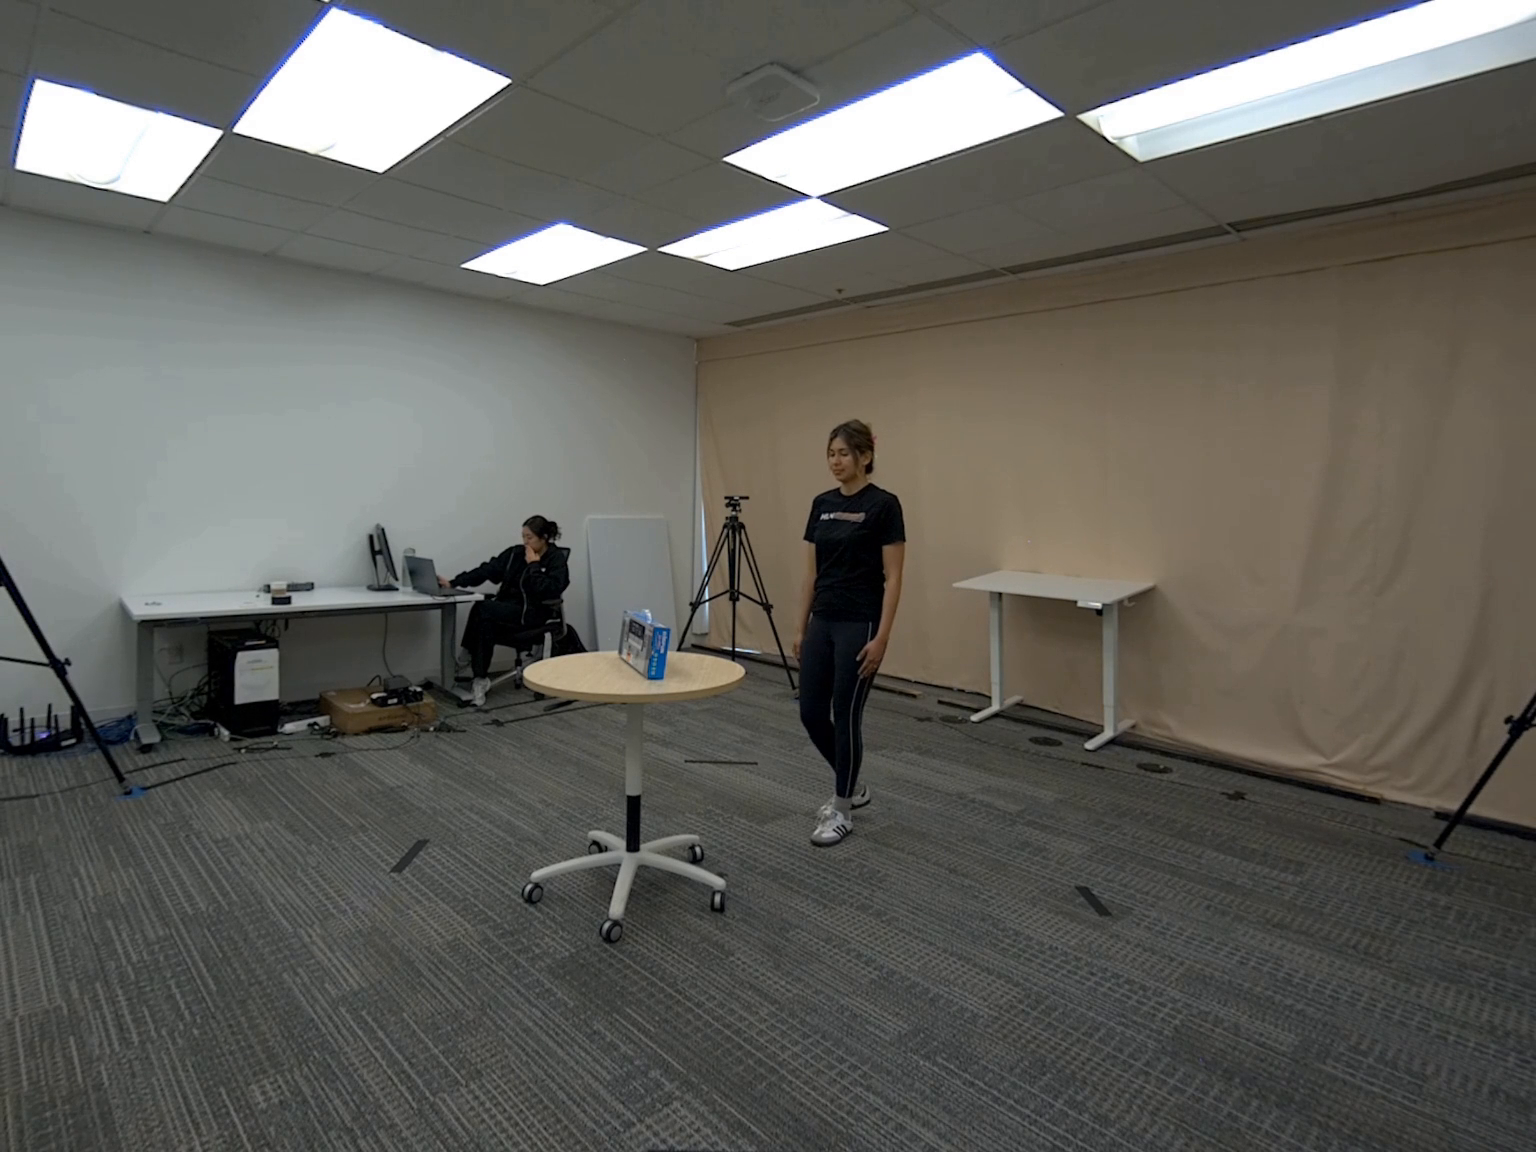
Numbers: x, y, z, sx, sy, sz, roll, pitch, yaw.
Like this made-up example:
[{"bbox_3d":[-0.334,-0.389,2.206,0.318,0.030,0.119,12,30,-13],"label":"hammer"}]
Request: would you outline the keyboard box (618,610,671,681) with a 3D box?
[{"bbox_3d":[-0.449,0.239,2.968,0.058,0.176,0.445,8,2,-22],"label":"keyboard box"}]
